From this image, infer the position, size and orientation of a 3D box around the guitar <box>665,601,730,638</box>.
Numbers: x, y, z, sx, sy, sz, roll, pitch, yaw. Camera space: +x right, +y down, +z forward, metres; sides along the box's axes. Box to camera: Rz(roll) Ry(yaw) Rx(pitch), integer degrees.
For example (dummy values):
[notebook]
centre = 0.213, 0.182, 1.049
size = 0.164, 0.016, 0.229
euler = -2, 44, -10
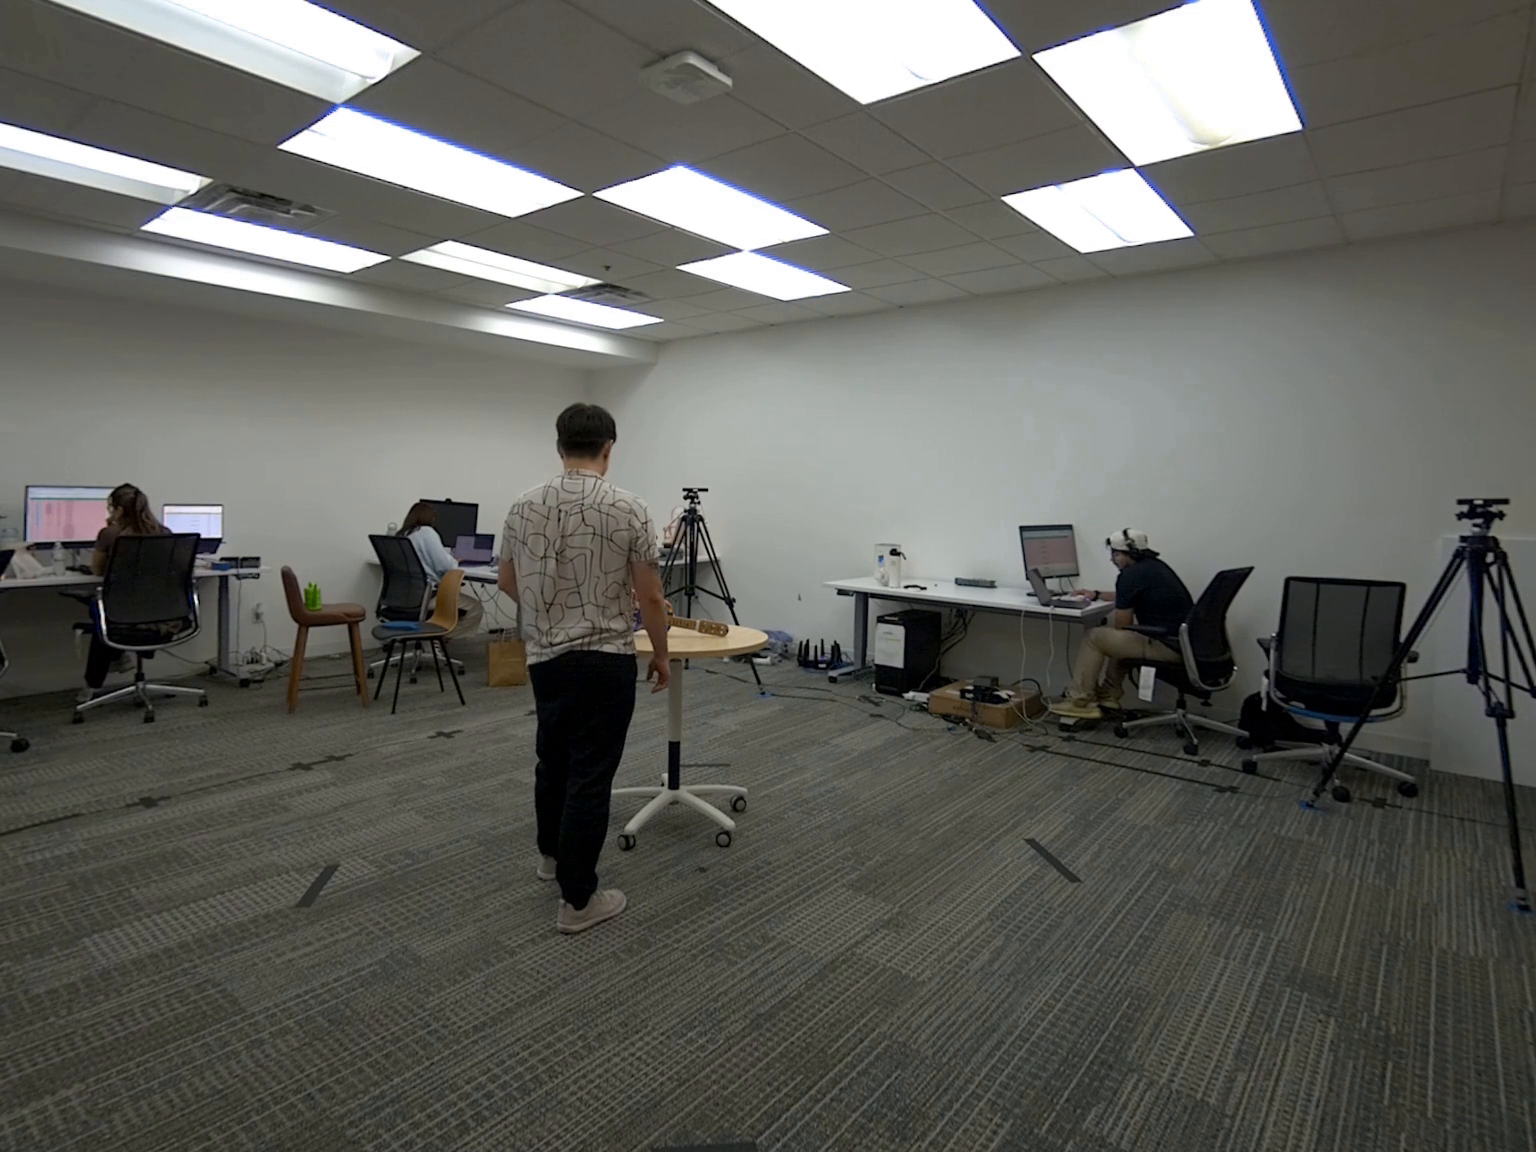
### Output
[guitar]
centre = -0.434, 0.203, 3.497
size = 0.495, 0.193, 0.071
euler = 19, 1, -4
